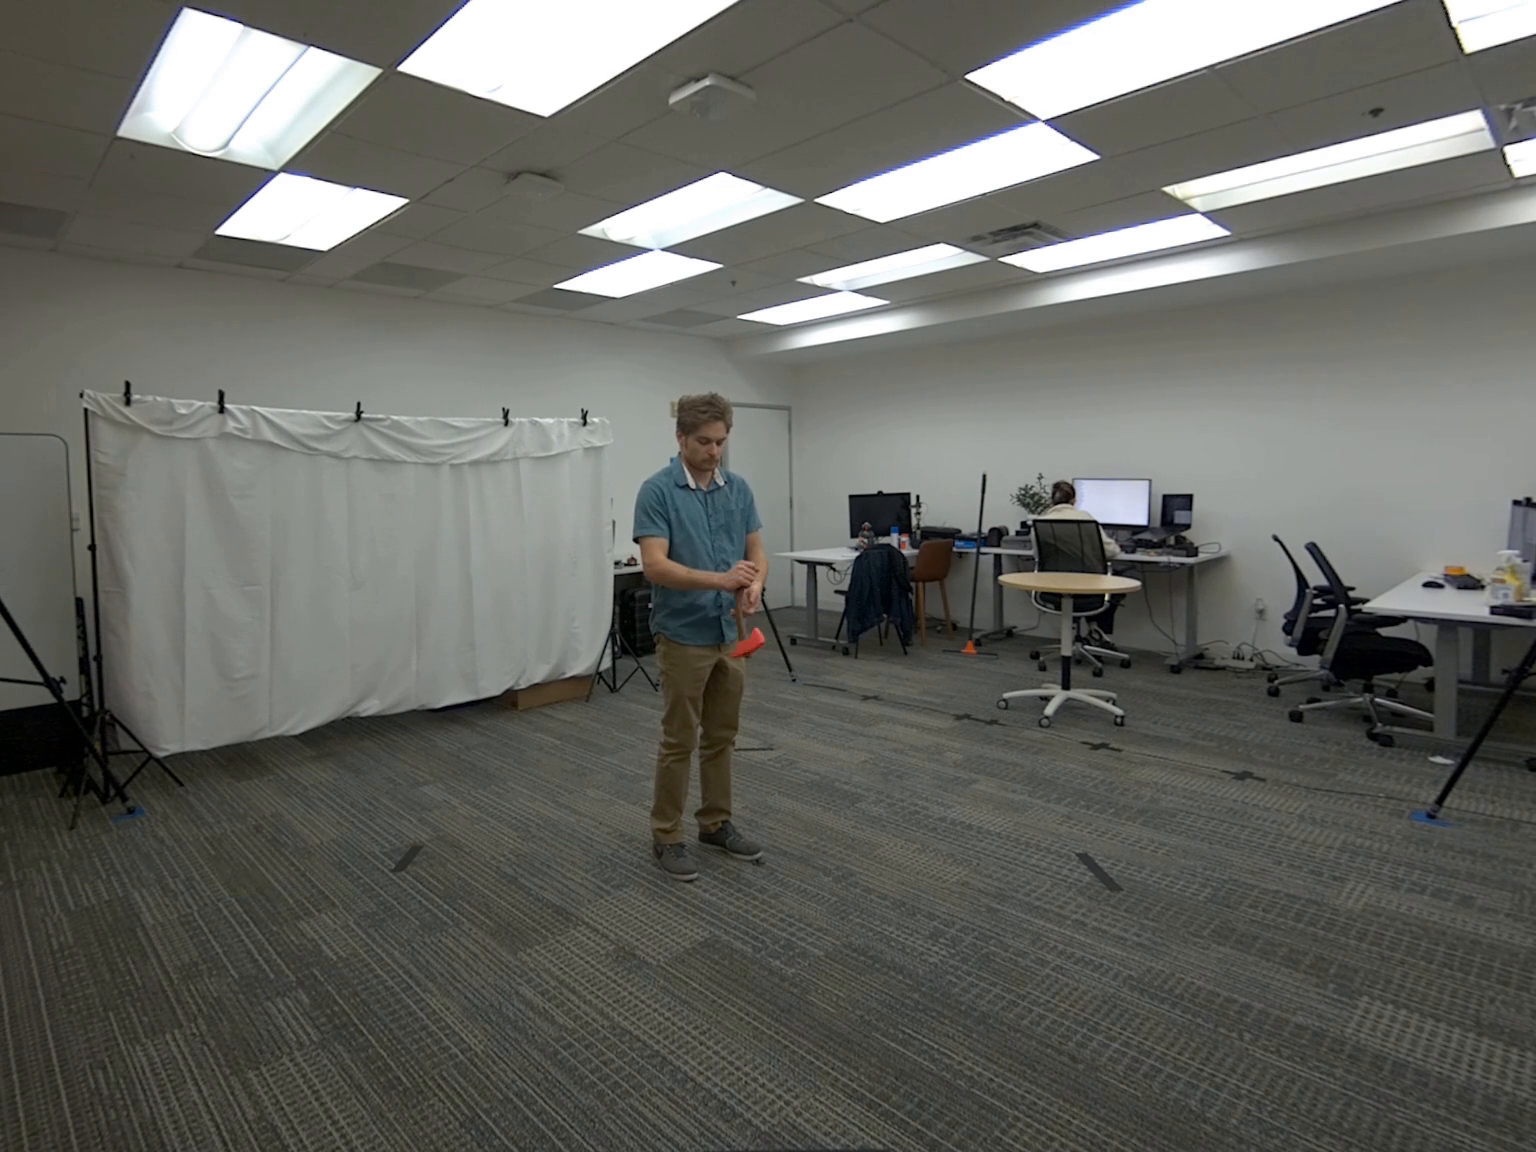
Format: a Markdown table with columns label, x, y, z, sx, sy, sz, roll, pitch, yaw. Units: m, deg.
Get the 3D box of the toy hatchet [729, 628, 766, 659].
| label | x | y | z | sx | sy | sz | roll | pitch | yaw |
| --- | --- | --- | --- | --- | --- | --- | --- | --- | --- |
| toy hatchet | -0.038 | 0.122 | 2.726 | 0.134 | 0.275 | 0.028 | -13 | -33 | 33 |
